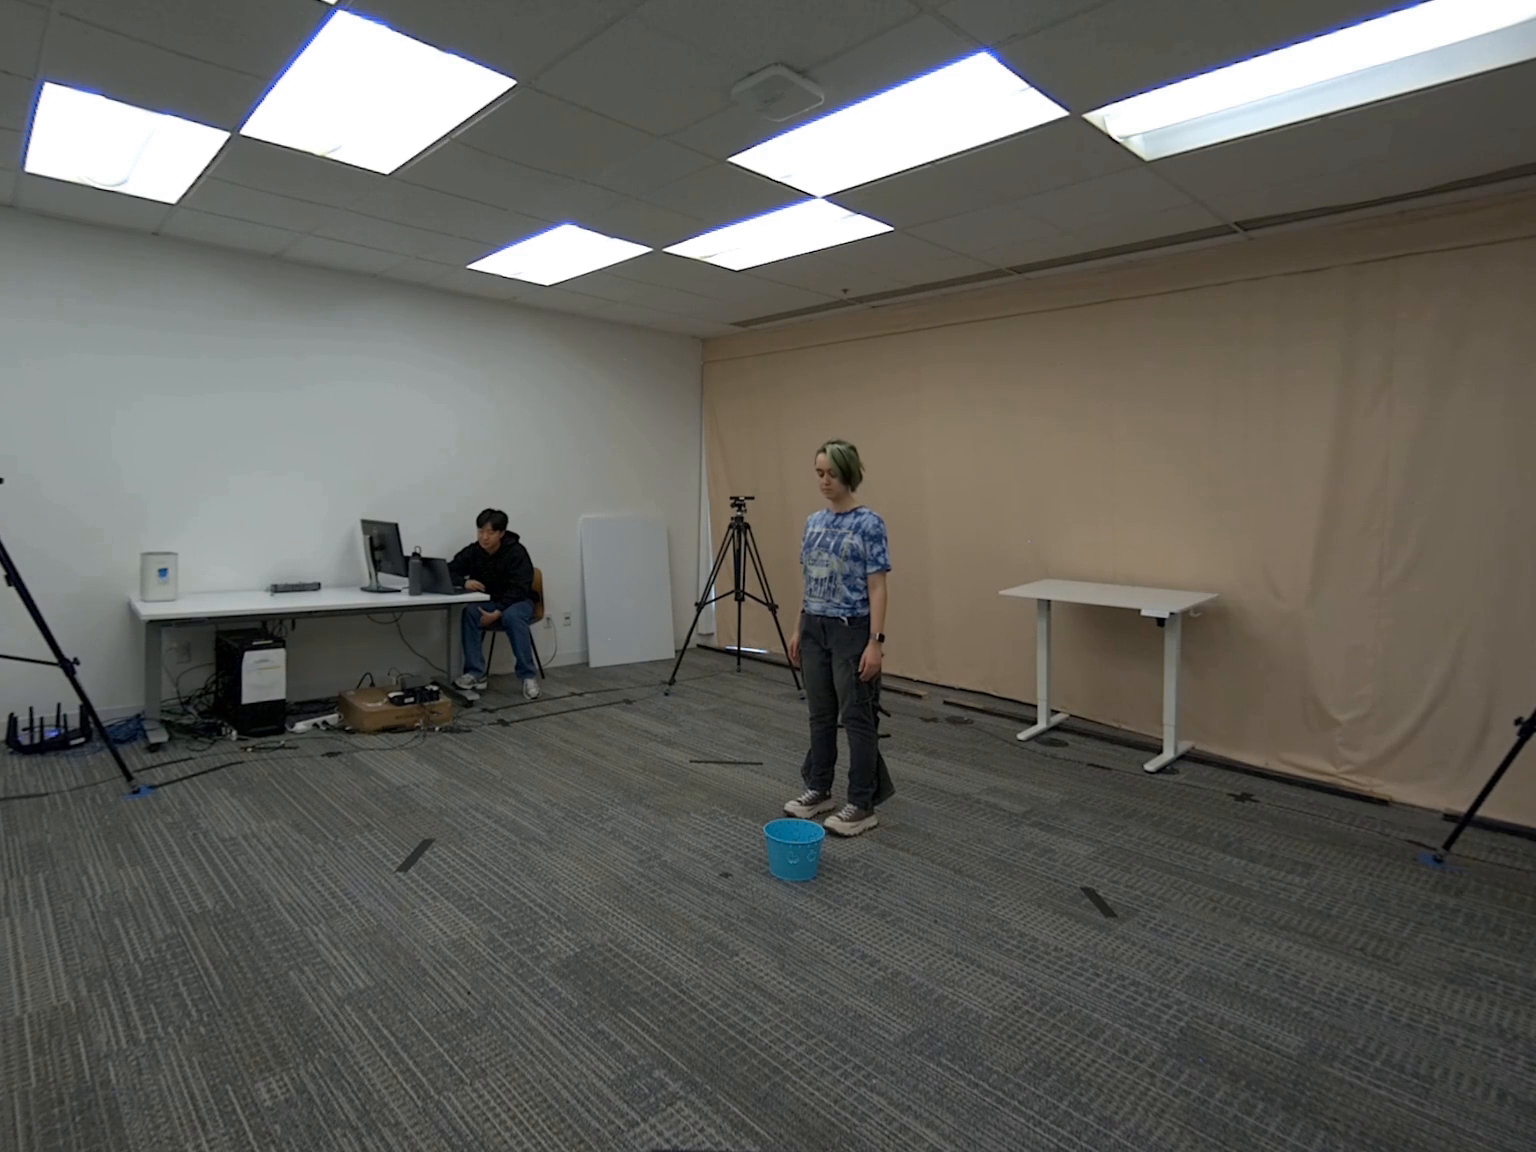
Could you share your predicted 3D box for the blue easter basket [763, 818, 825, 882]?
[{"bbox_3d":[0.092,1.023,3.154,0.243,0.155,0.244,1,4,-1],"label":"blue easter basket"}]
